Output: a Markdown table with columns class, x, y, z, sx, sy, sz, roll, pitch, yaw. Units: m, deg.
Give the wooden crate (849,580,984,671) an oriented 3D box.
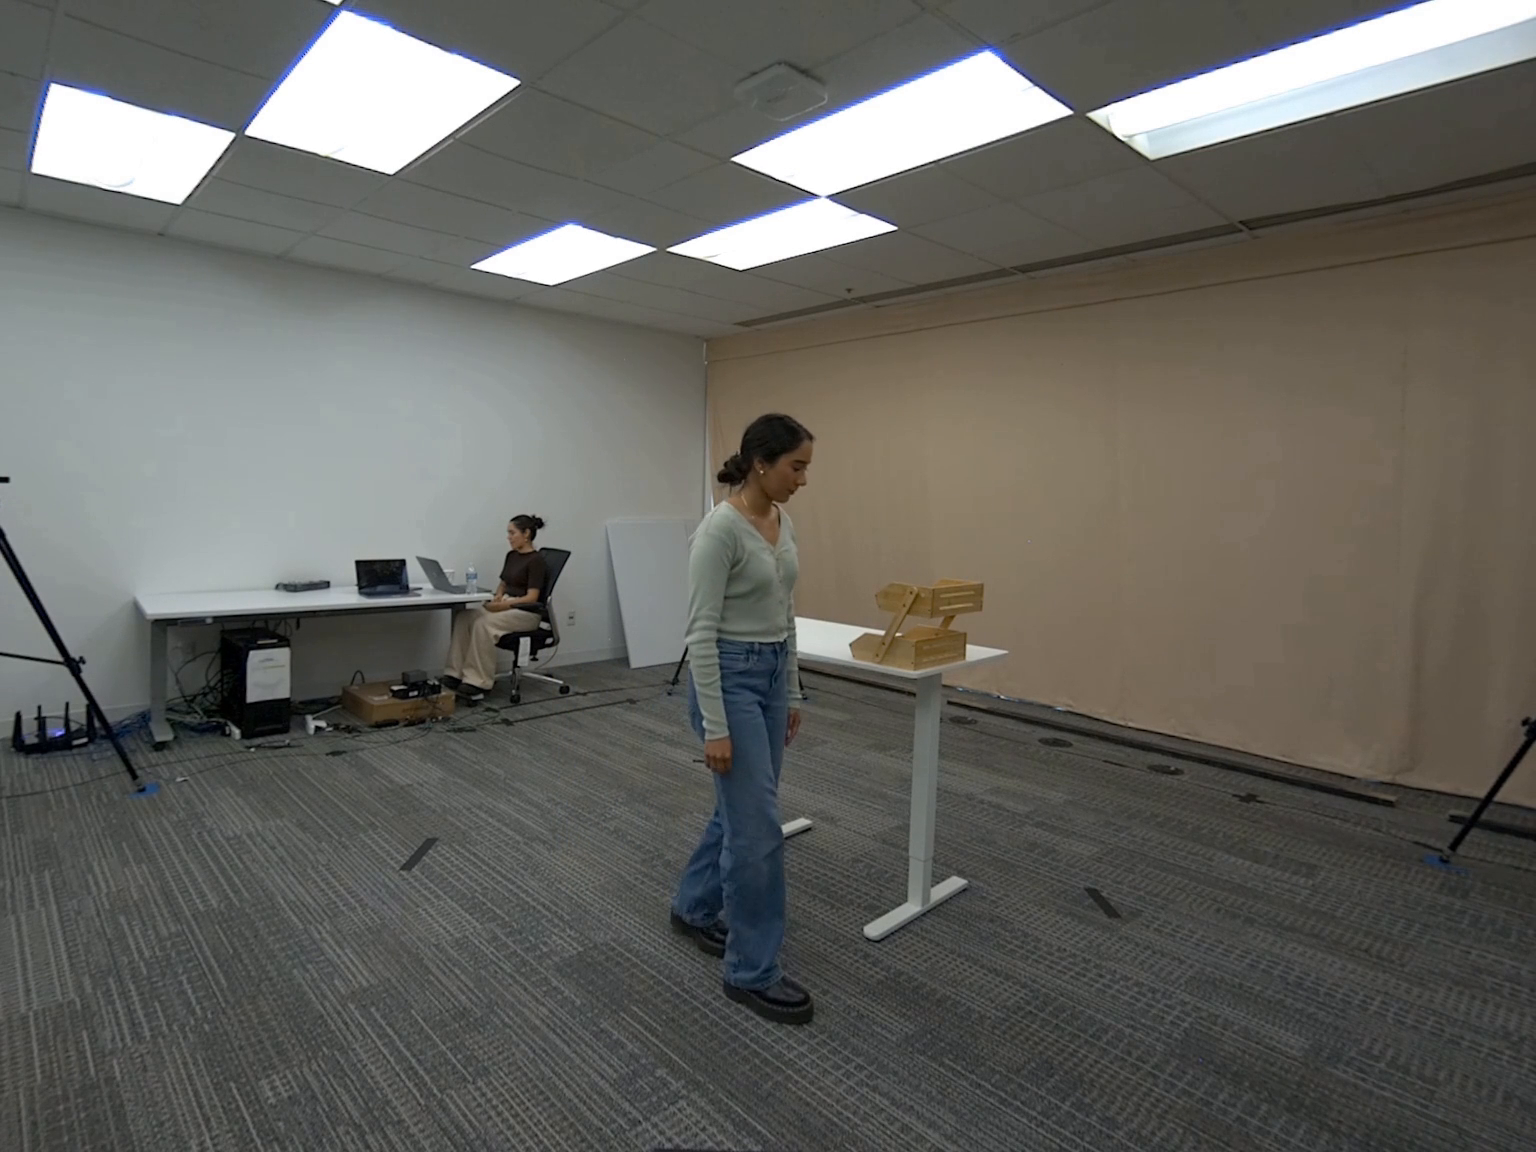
| class | x | y | z | sx | sy | sz | roll | pitch | yaw |
| --- | --- | --- | --- | --- | --- | --- | --- | --- | --- |
| wooden crate | 0.470 | 0.141 | 2.716 | 0.310 | 0.272 | 0.317 | 7 | 7 | 44 |
